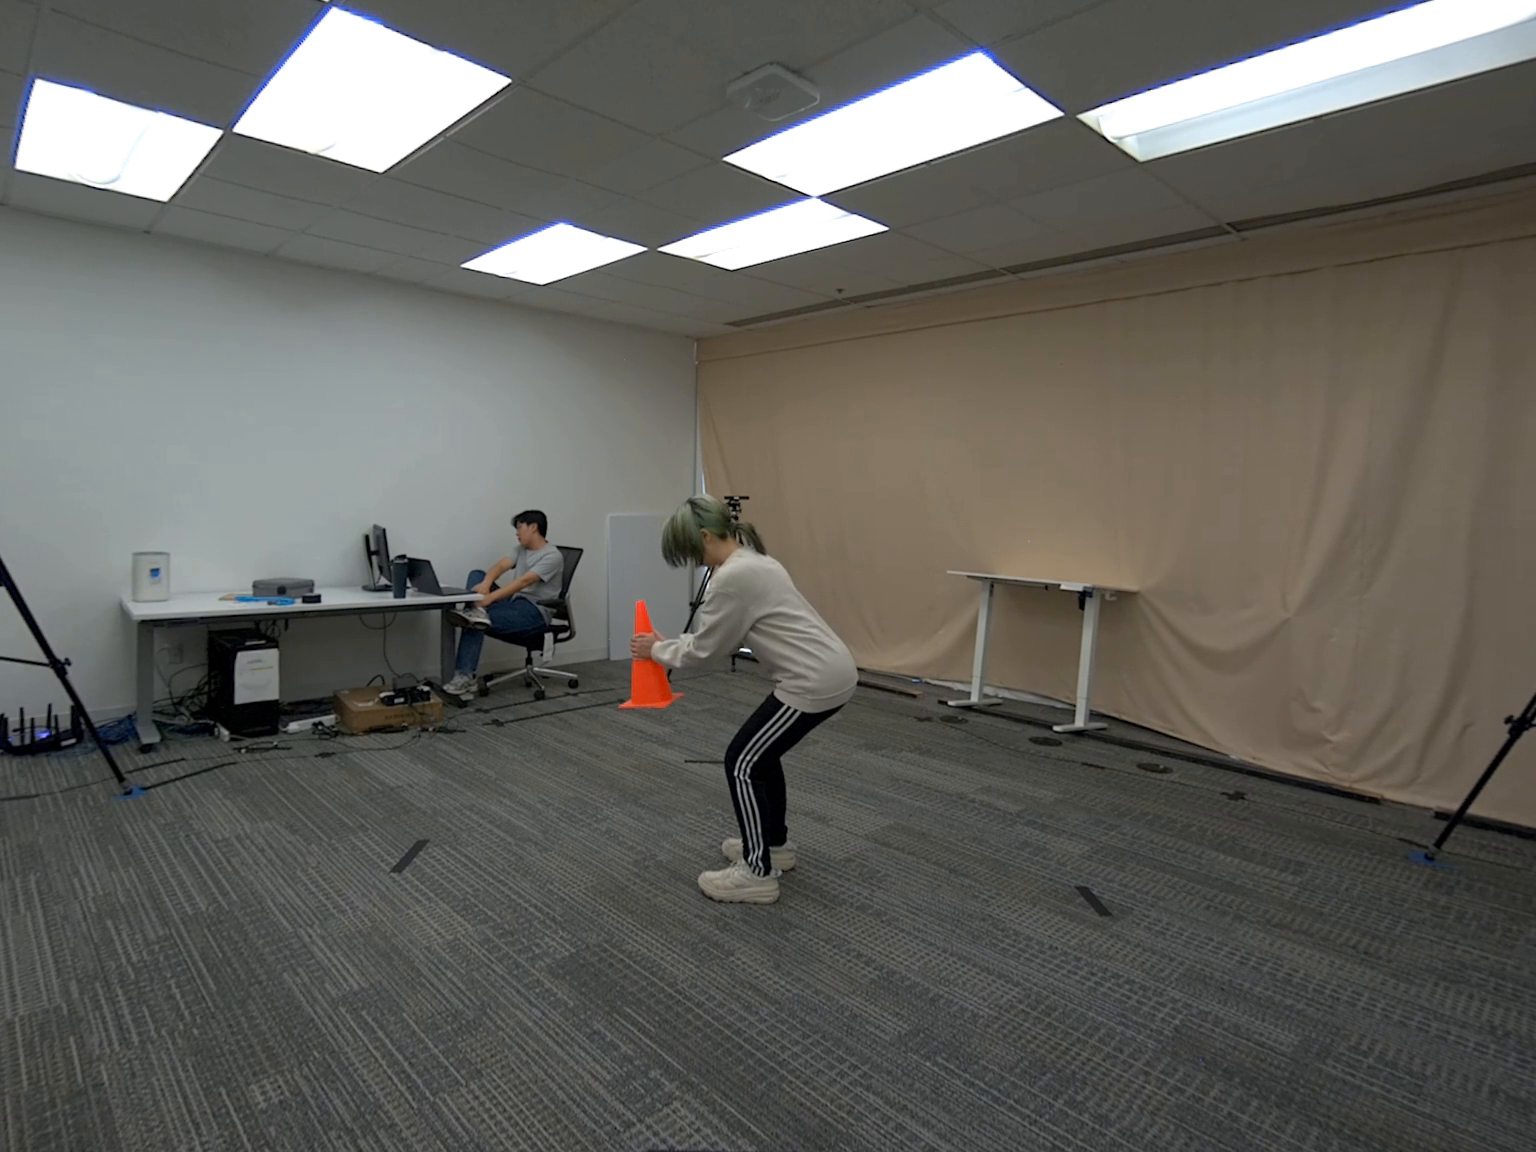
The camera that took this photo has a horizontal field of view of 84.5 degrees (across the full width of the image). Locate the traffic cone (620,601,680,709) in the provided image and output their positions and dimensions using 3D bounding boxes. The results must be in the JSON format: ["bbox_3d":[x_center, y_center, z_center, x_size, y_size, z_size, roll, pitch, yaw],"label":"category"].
[{"bbox_3d":[-0.460,0.286,3.186,0.206,0.383,0.202,-5,1,23],"label":"traffic cone"}]
